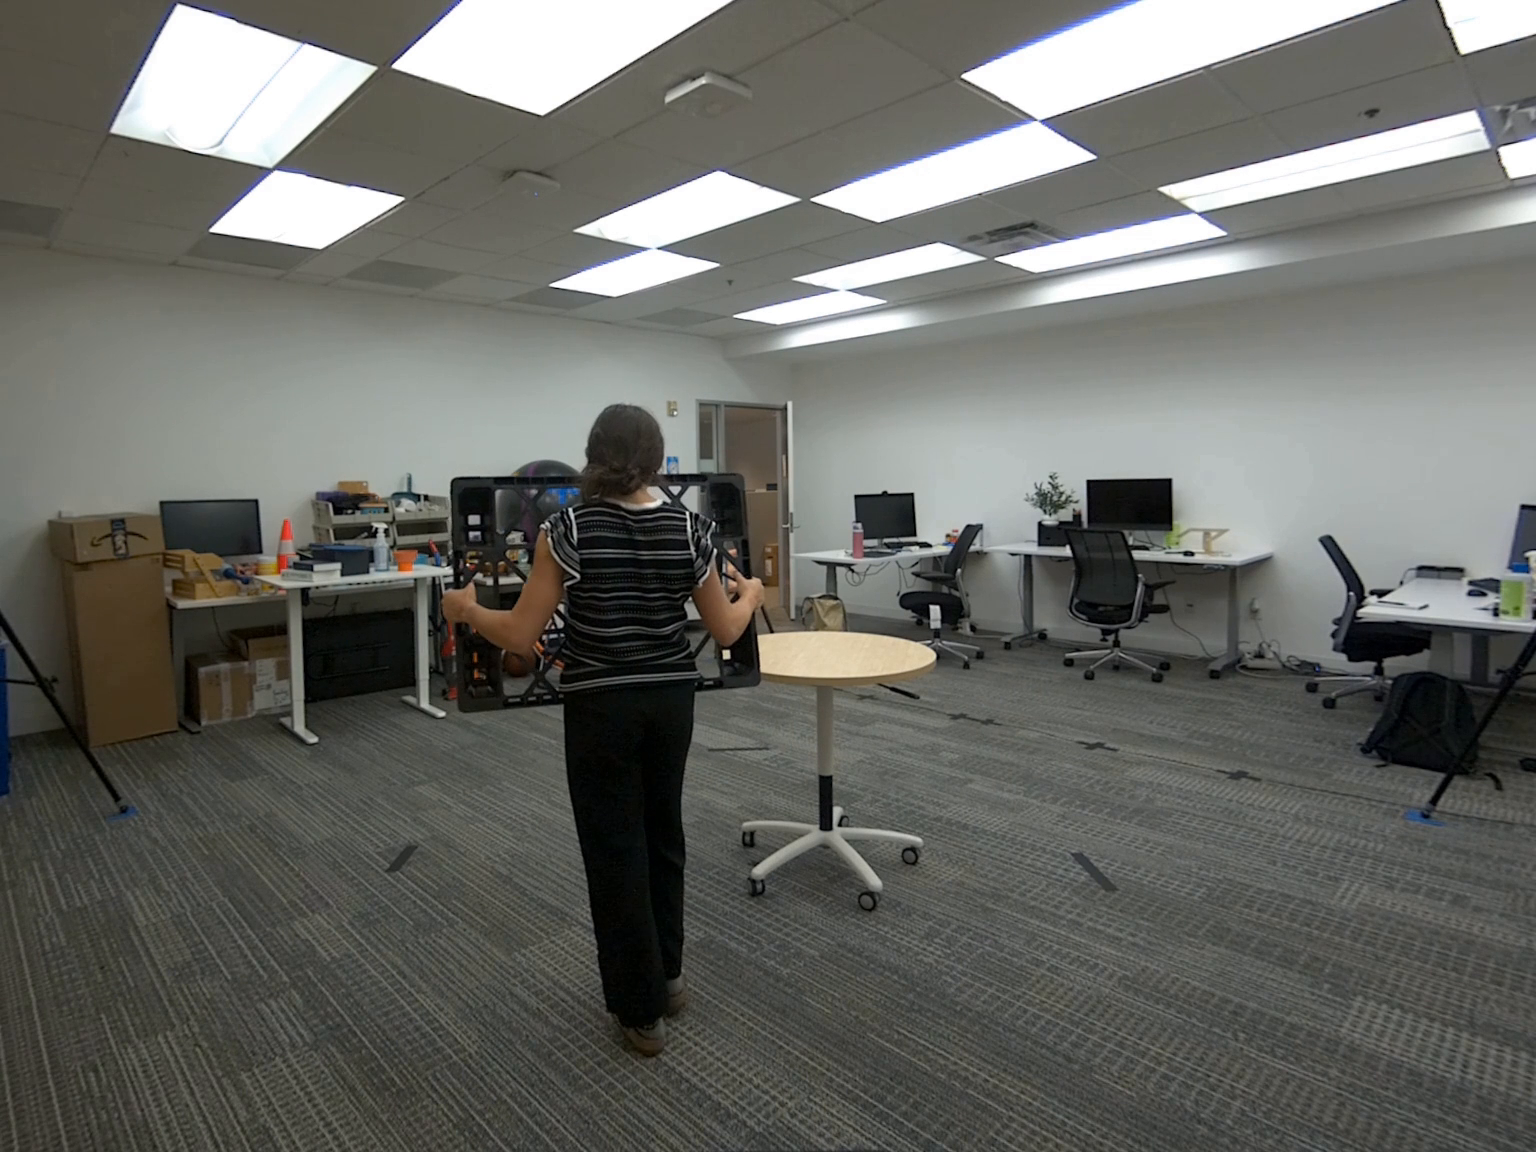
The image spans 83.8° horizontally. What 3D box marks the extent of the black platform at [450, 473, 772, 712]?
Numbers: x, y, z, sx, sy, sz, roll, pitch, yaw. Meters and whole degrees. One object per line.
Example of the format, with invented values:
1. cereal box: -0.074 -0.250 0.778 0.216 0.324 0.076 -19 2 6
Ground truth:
1. black platform: -0.439 0.027 2.329 0.793 0.609 0.144 -3 -7 -17
